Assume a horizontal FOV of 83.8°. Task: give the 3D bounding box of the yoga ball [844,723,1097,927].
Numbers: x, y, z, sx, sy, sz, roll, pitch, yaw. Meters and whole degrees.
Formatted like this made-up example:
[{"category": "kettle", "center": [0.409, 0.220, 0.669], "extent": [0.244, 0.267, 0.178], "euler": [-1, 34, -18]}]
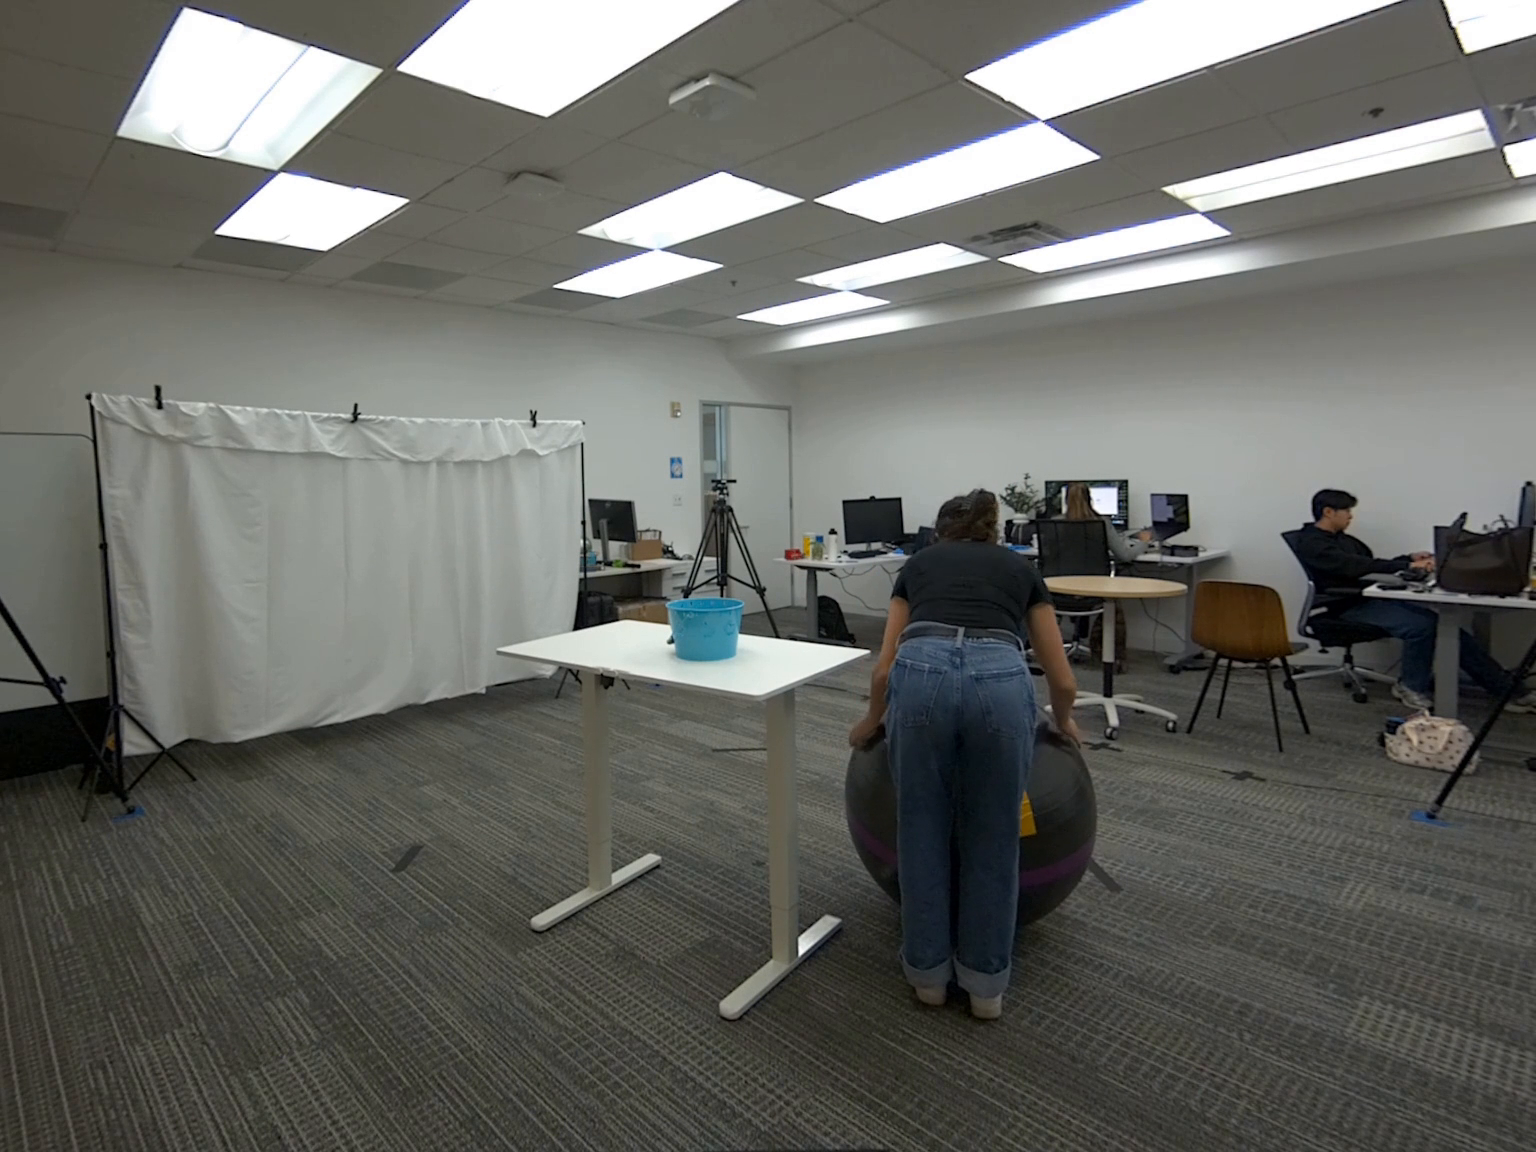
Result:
[{"category": "yoga ball", "center": [0.643, 0.725, 2.677], "extent": [0.757, 0.755, 0.762], "euler": [-1, 5, -2]}]
